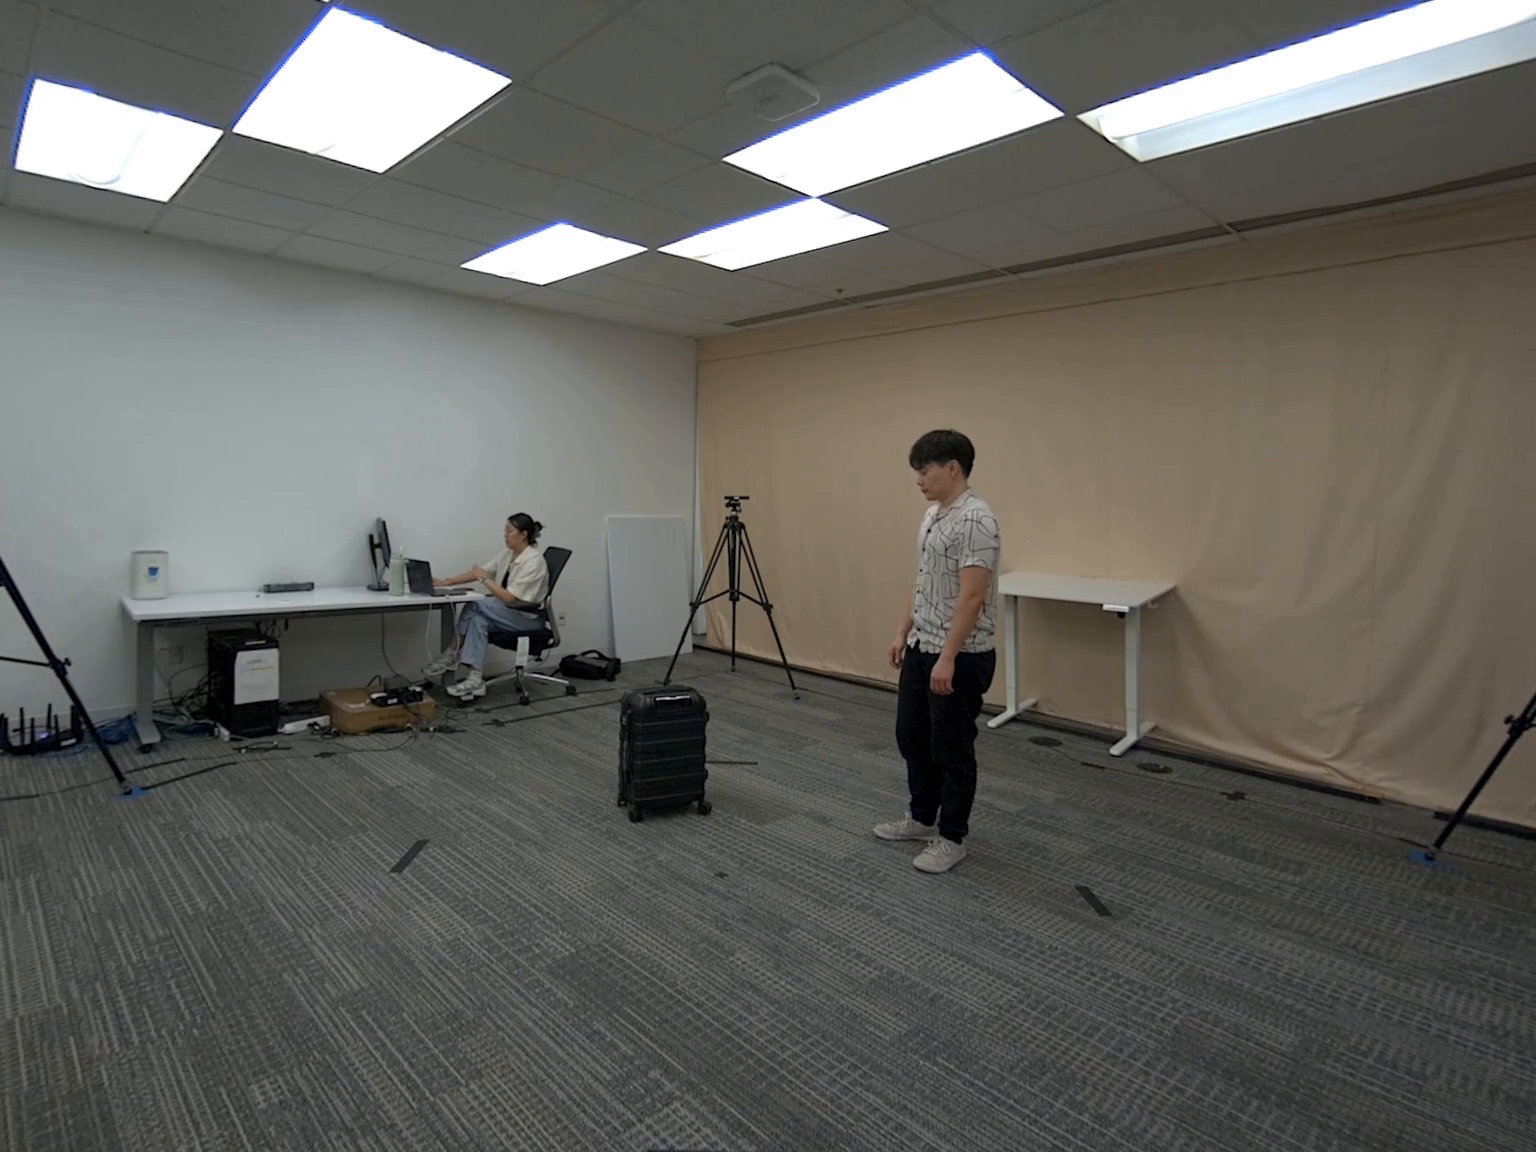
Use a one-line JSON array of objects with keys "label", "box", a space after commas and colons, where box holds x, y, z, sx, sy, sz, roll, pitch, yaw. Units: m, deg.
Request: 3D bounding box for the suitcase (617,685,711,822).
[{"label": "suitcase", "box": [-0.474, 0.761, 3.728, 0.368, 0.548, 0.253, -1, 4, -26]}]
